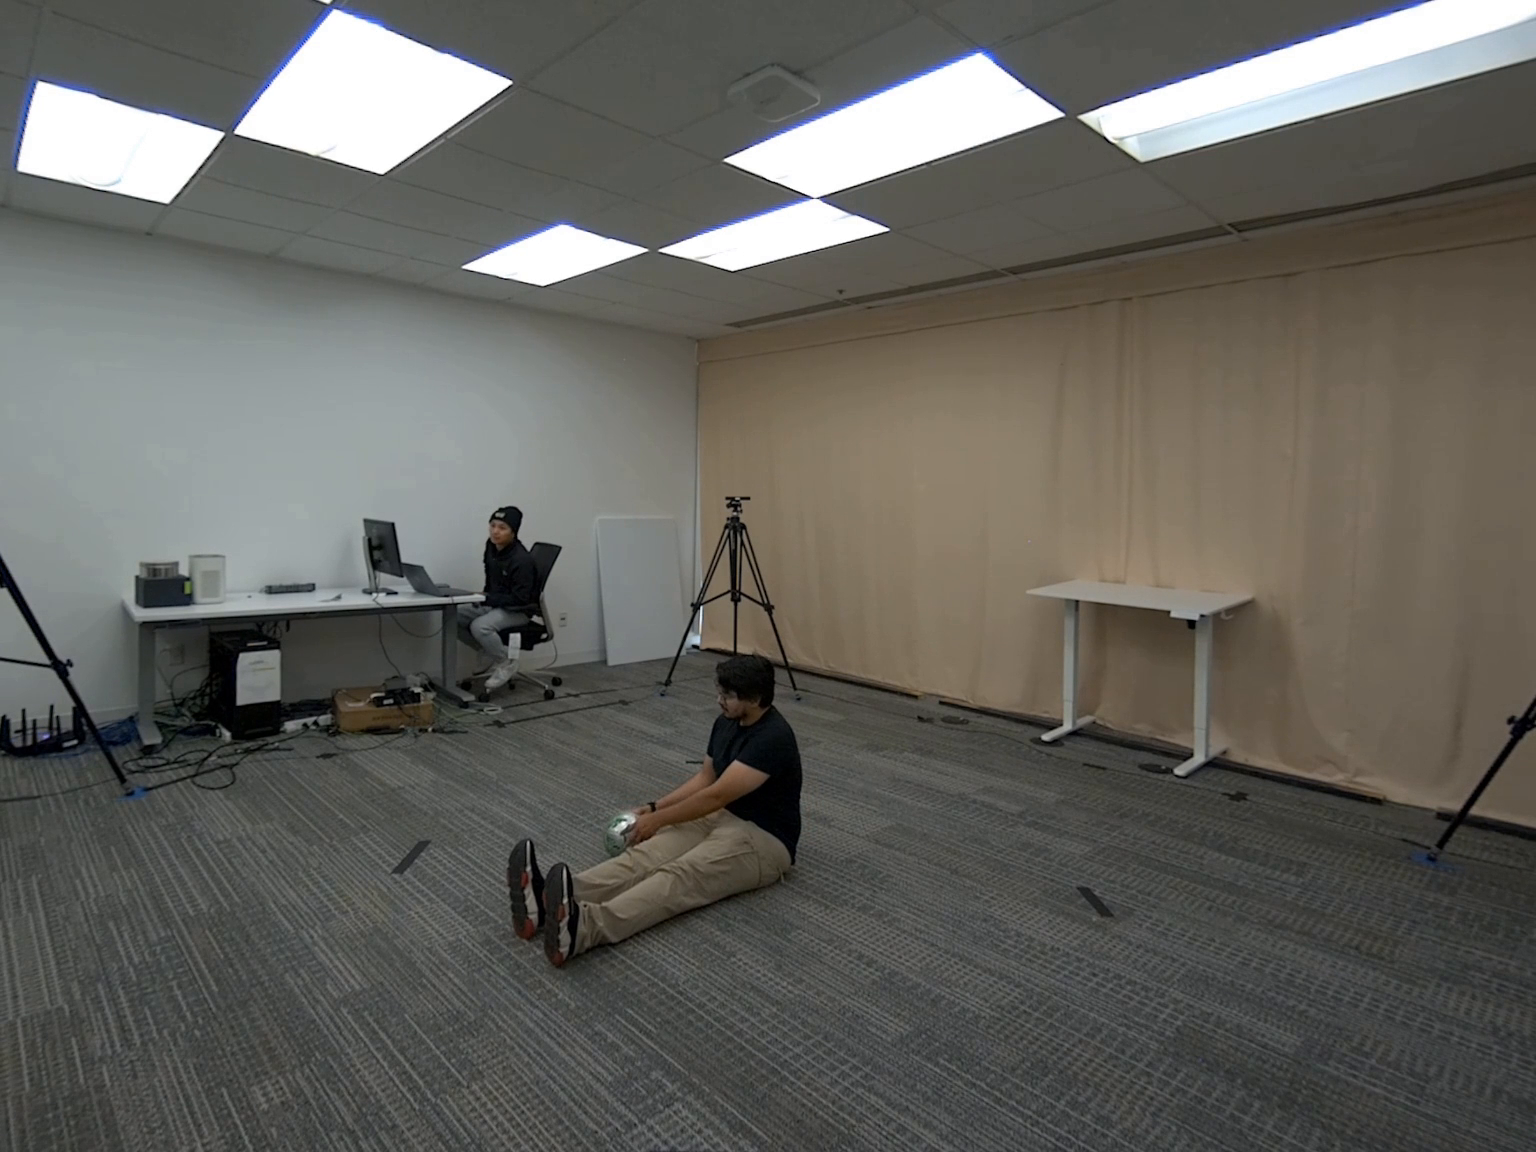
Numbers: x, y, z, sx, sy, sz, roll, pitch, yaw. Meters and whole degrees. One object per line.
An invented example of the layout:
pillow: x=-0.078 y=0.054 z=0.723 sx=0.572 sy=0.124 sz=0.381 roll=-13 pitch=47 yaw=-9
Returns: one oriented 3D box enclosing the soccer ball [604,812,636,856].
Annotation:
soccer ball: x=-0.532 y=0.989 z=3.212 sx=0.187 sy=0.187 sz=0.188 roll=1 pitch=5 yaw=-1
